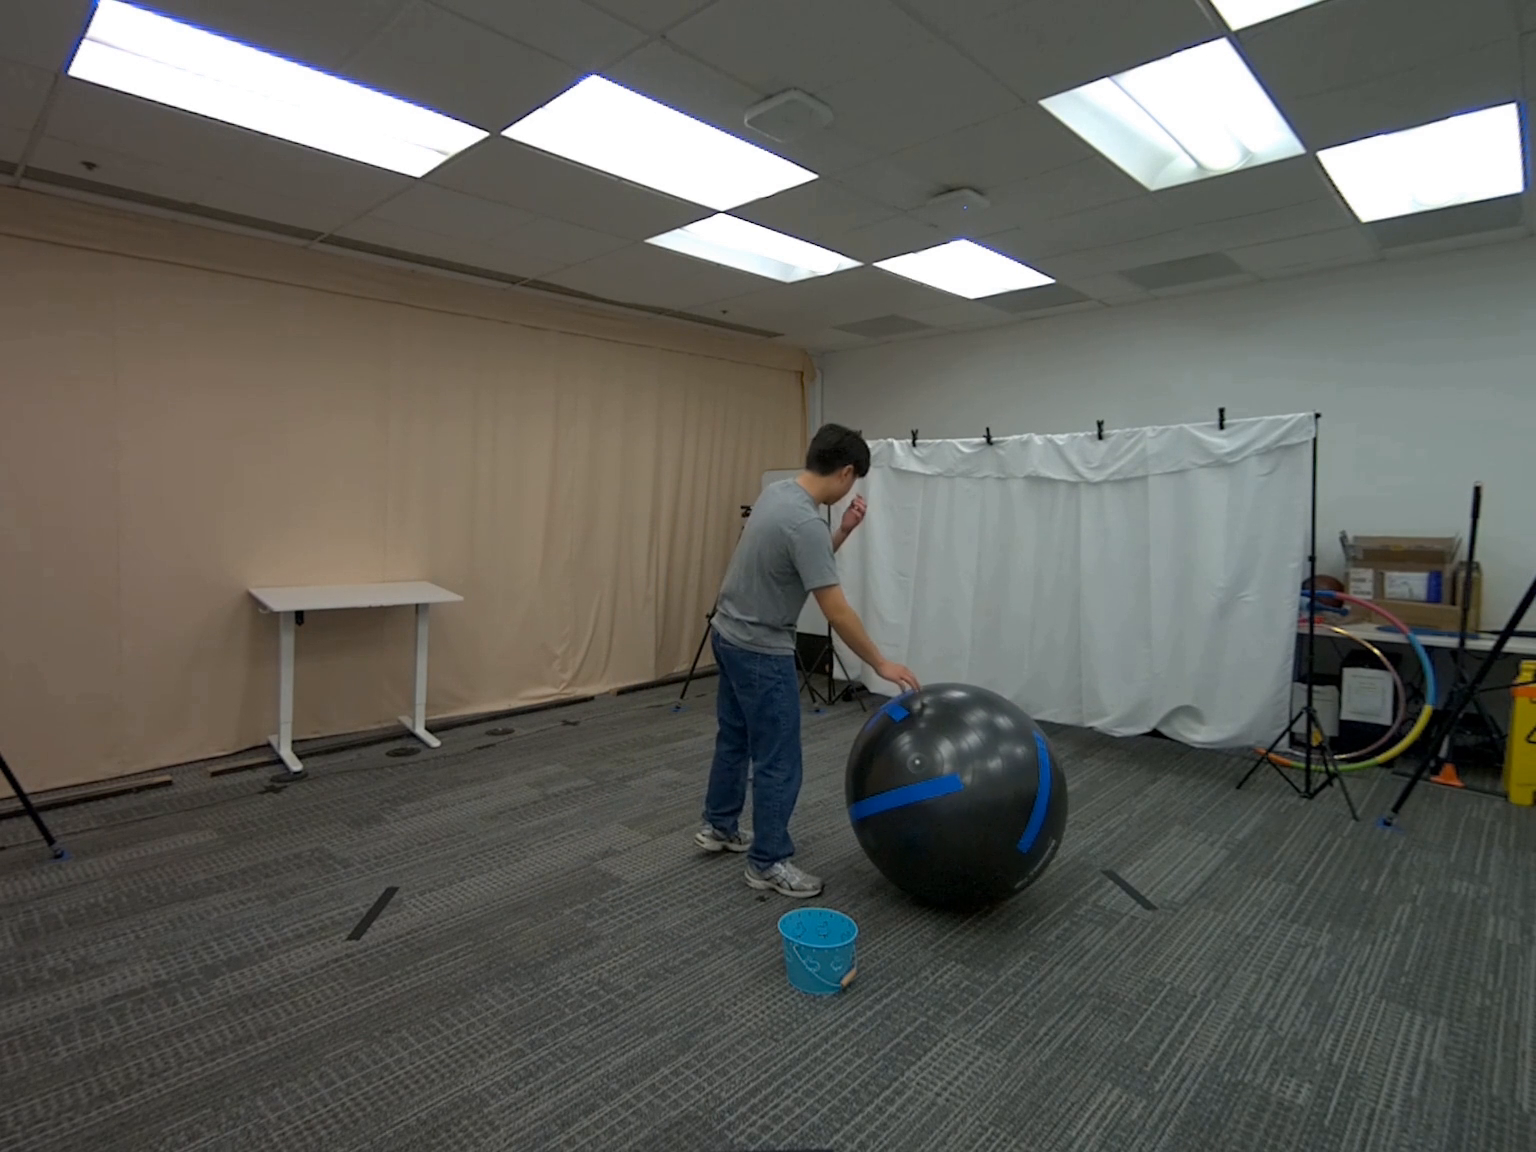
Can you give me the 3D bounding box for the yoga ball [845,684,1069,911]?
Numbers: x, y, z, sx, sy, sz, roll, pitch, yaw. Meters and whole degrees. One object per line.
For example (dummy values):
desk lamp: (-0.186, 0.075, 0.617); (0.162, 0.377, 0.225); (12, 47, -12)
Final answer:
yoga ball: (0.657, 0.770, 2.985); (0.757, 0.756, 0.760); (0, 4, -2)
